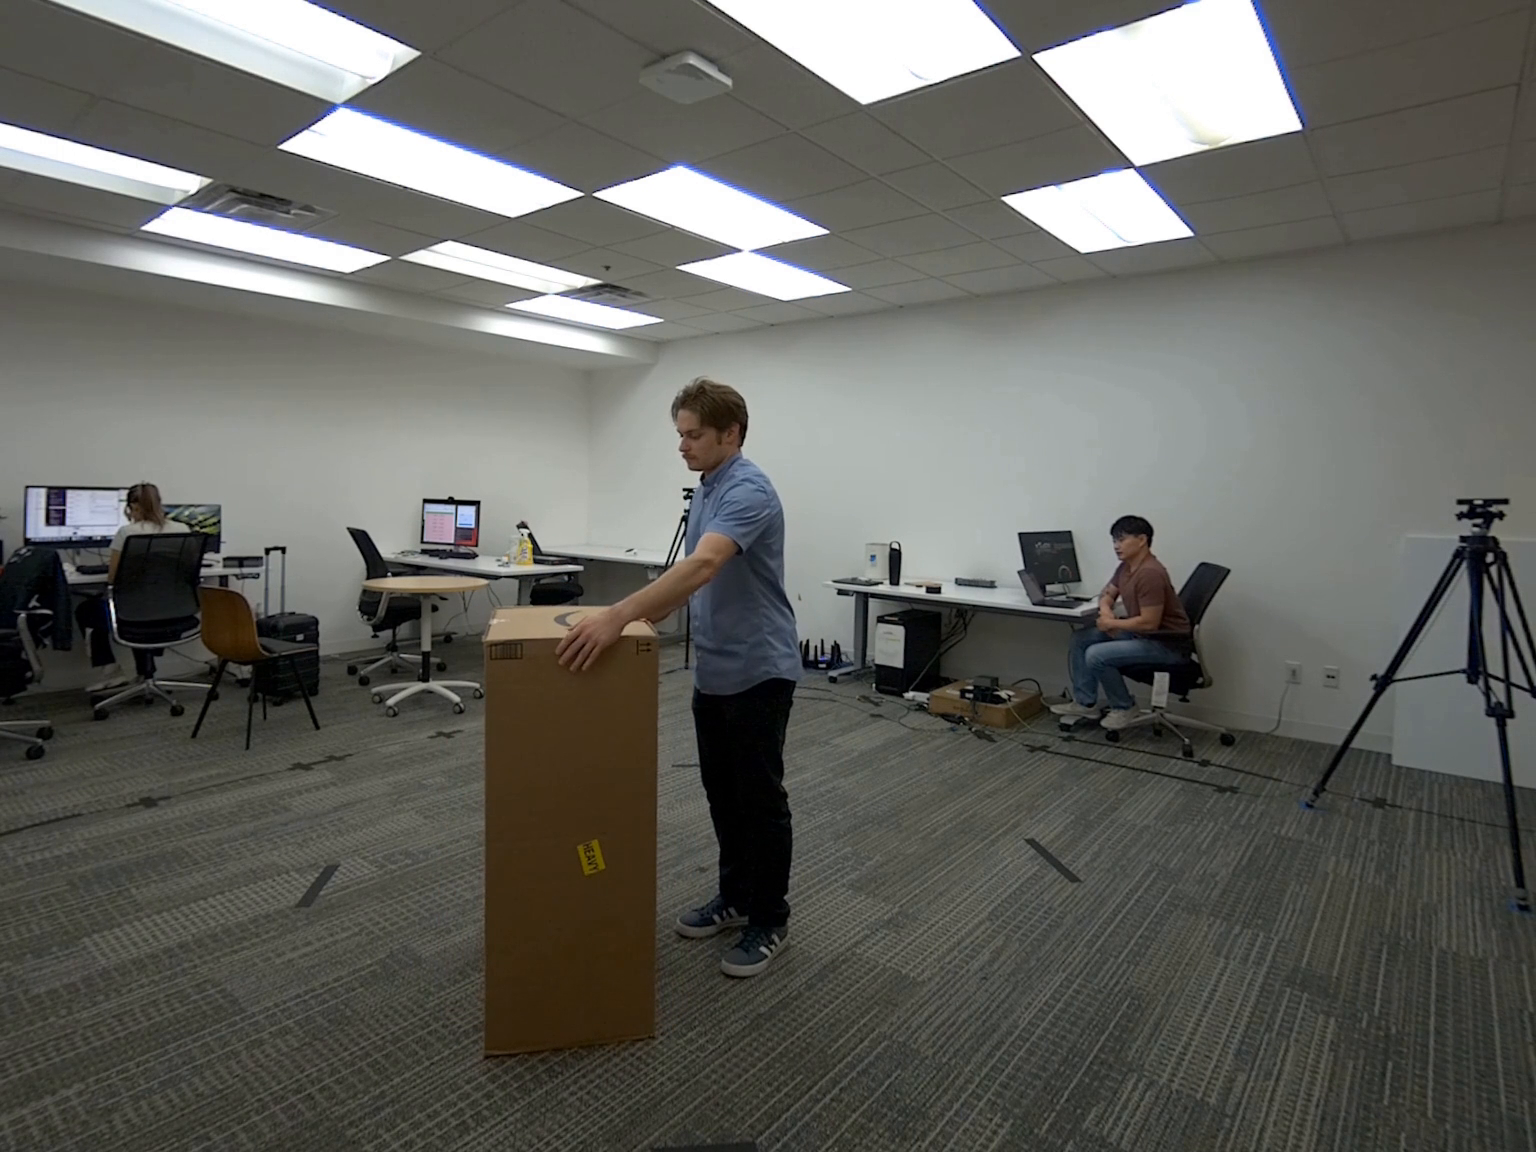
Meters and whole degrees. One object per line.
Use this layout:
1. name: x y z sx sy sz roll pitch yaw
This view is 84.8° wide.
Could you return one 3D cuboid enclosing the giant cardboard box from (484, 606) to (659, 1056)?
1. giant cardboard box: -0.562 0.631 2.353 0.420 1.023 0.588 0 3 -14
